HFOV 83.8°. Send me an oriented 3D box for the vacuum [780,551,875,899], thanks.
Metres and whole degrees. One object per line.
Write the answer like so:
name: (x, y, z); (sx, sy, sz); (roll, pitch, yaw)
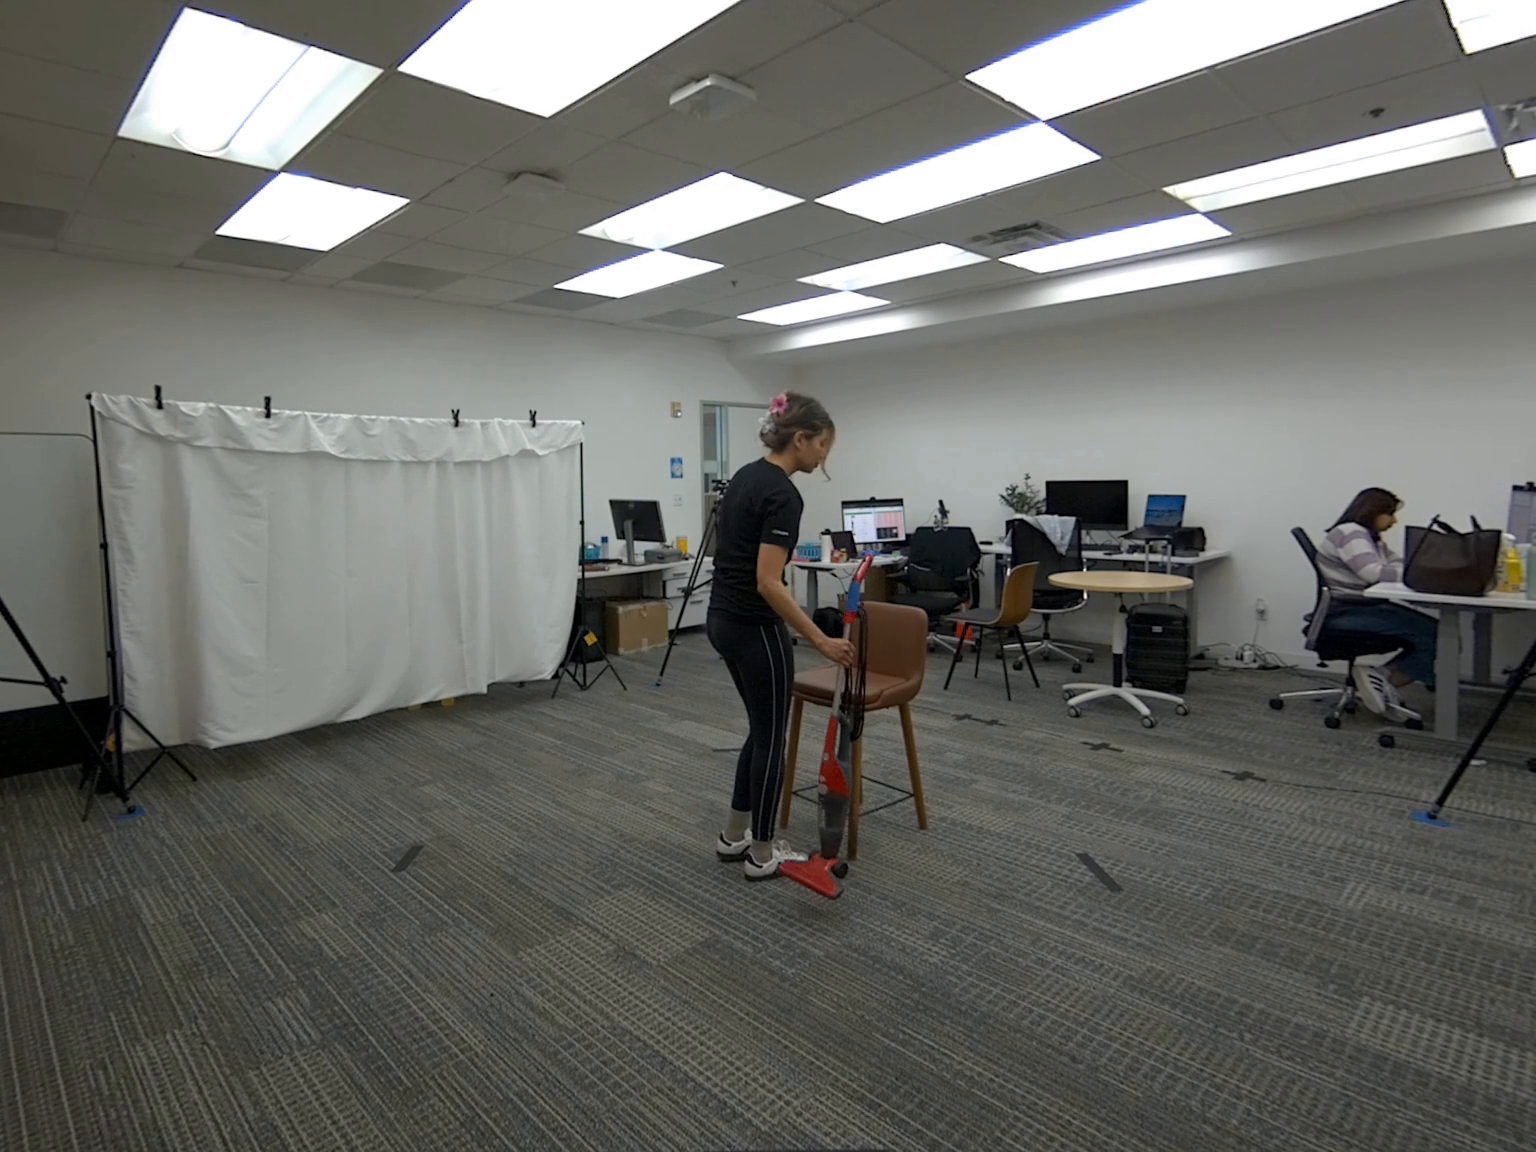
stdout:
vacuum: (0.258, 0.460, 2.774); (0.139, 1.052, 0.260); (13, -5, -42)
